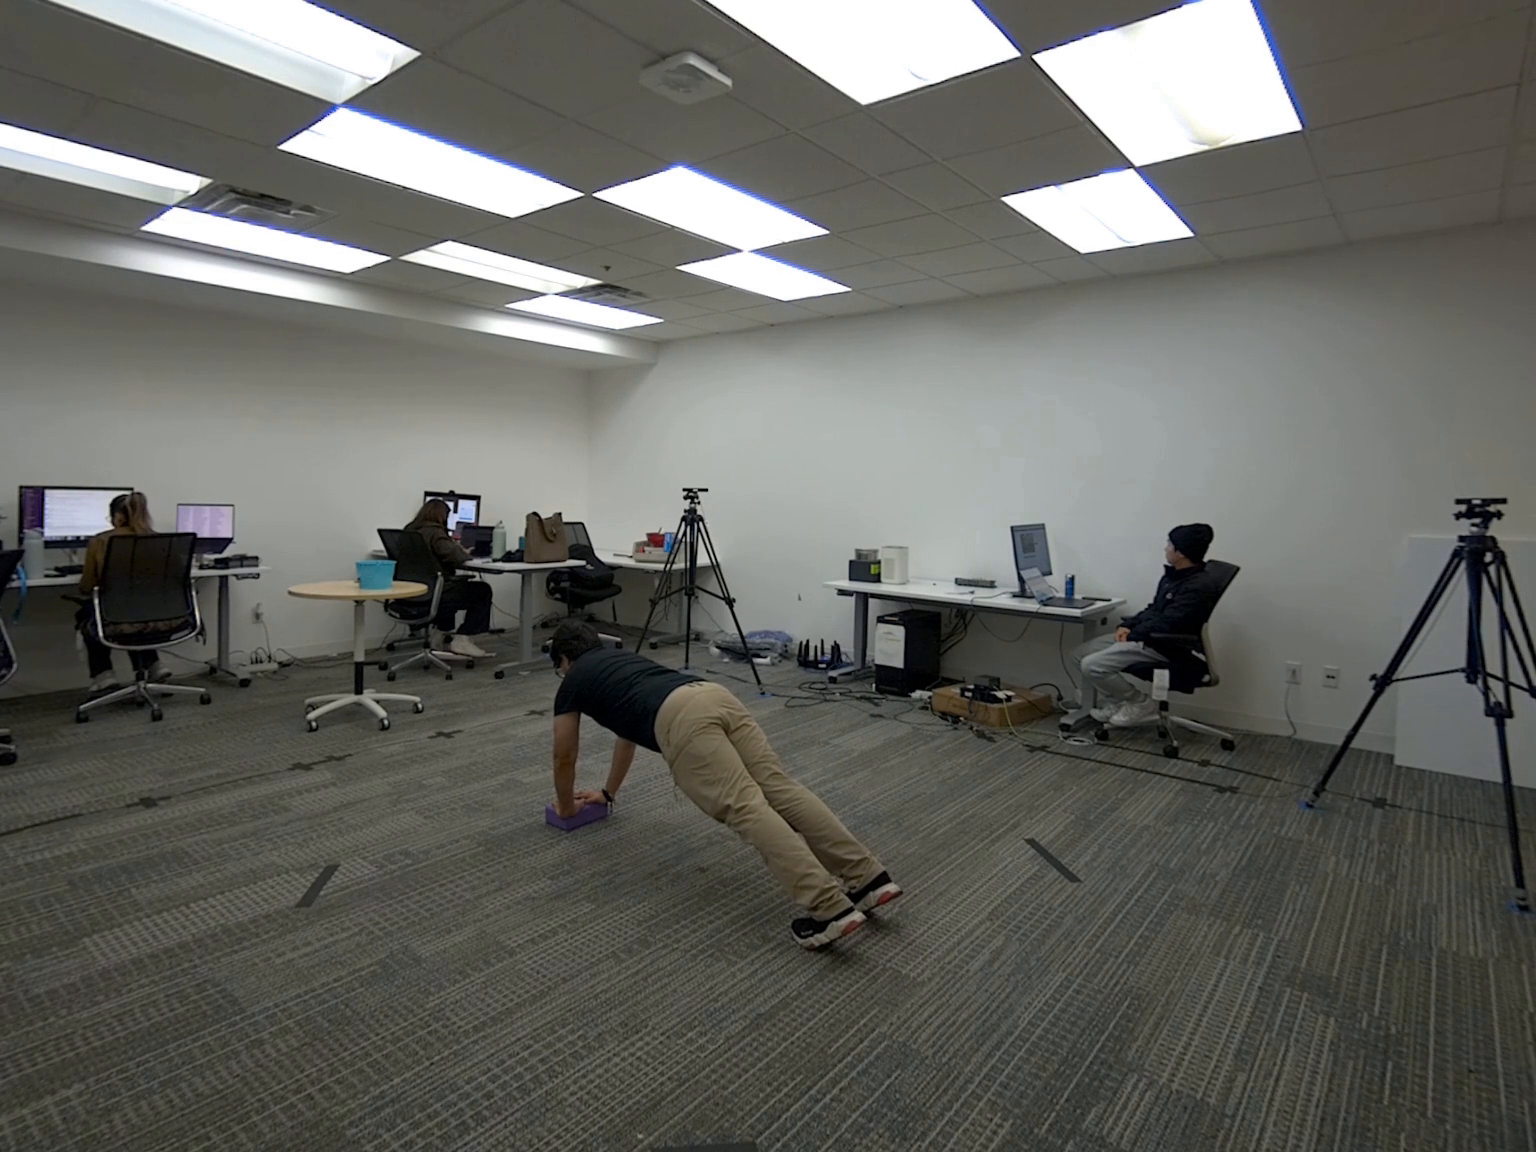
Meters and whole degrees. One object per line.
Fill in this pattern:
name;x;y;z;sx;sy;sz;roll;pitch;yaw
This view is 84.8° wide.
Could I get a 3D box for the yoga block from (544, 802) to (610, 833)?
yoga block;-0.812;0.980;3.560;0.153;0.076;0.223;1;6;37
